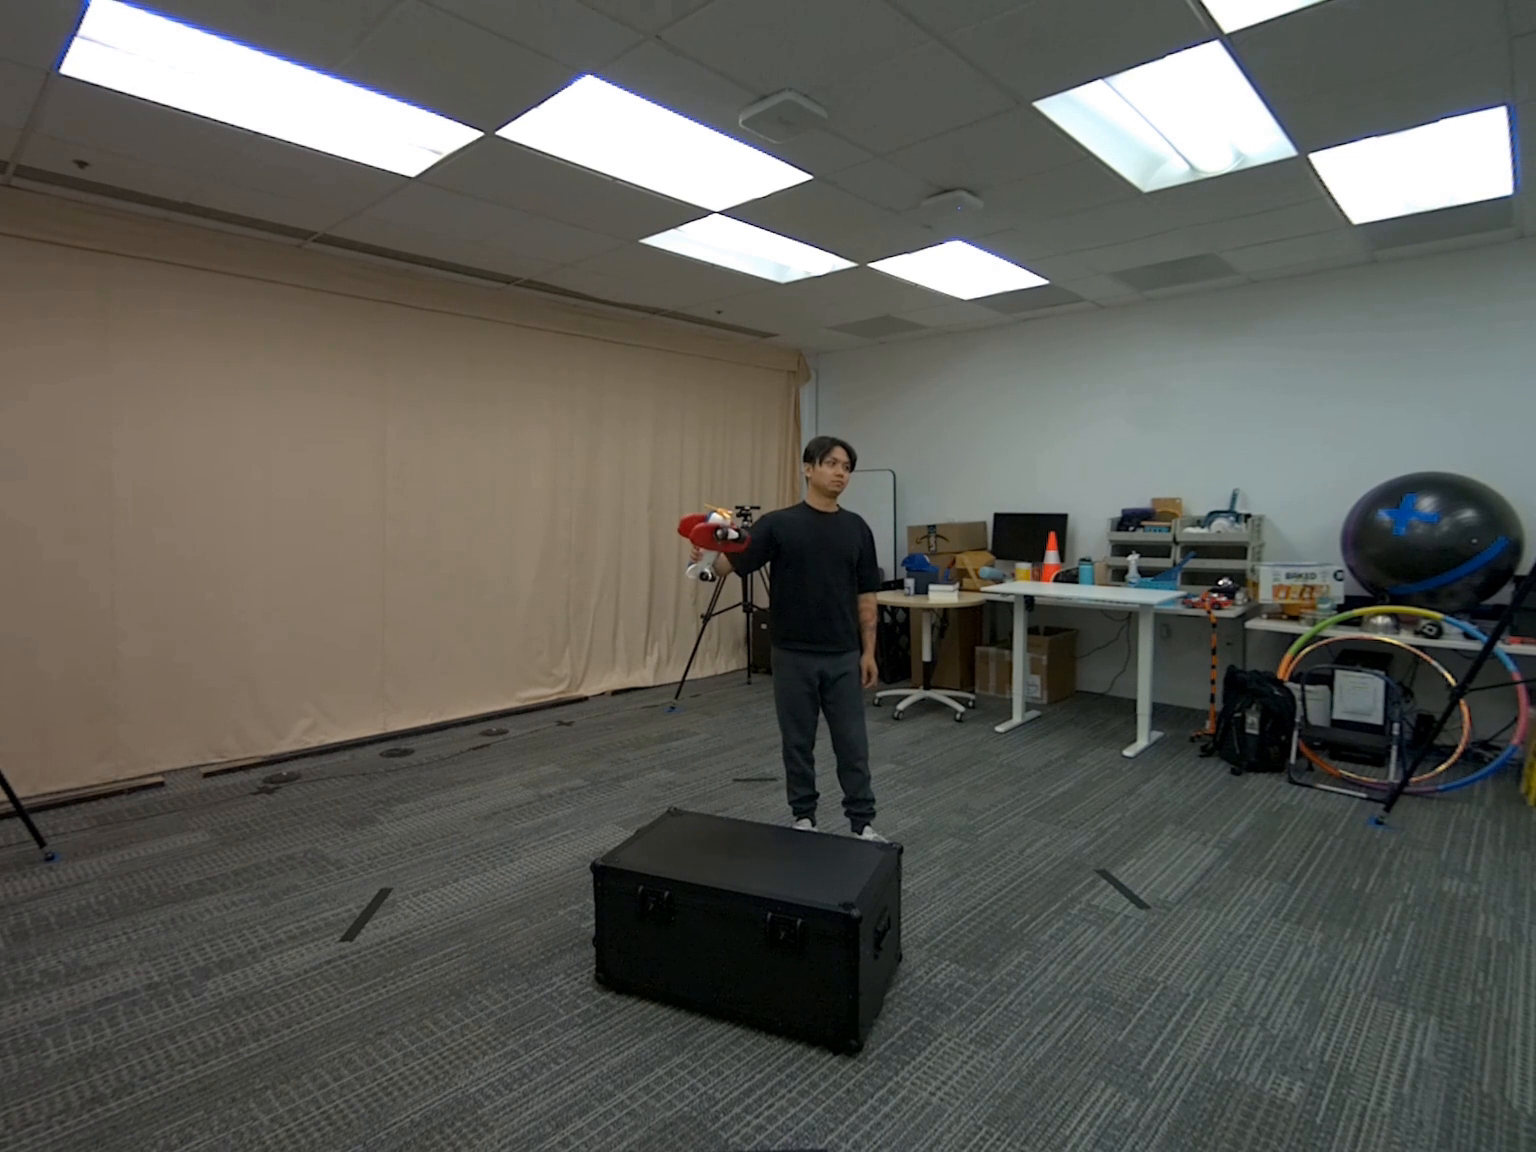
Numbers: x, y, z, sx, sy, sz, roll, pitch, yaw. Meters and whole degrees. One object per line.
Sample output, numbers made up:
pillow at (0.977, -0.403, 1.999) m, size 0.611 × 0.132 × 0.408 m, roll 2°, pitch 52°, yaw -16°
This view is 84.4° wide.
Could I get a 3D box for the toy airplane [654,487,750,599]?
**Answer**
toy airplane at (-0.197, -0.110, 2.902) m, size 0.162 × 0.259 × 0.242 m, roll 52°, pitch 3°, yaw 38°
